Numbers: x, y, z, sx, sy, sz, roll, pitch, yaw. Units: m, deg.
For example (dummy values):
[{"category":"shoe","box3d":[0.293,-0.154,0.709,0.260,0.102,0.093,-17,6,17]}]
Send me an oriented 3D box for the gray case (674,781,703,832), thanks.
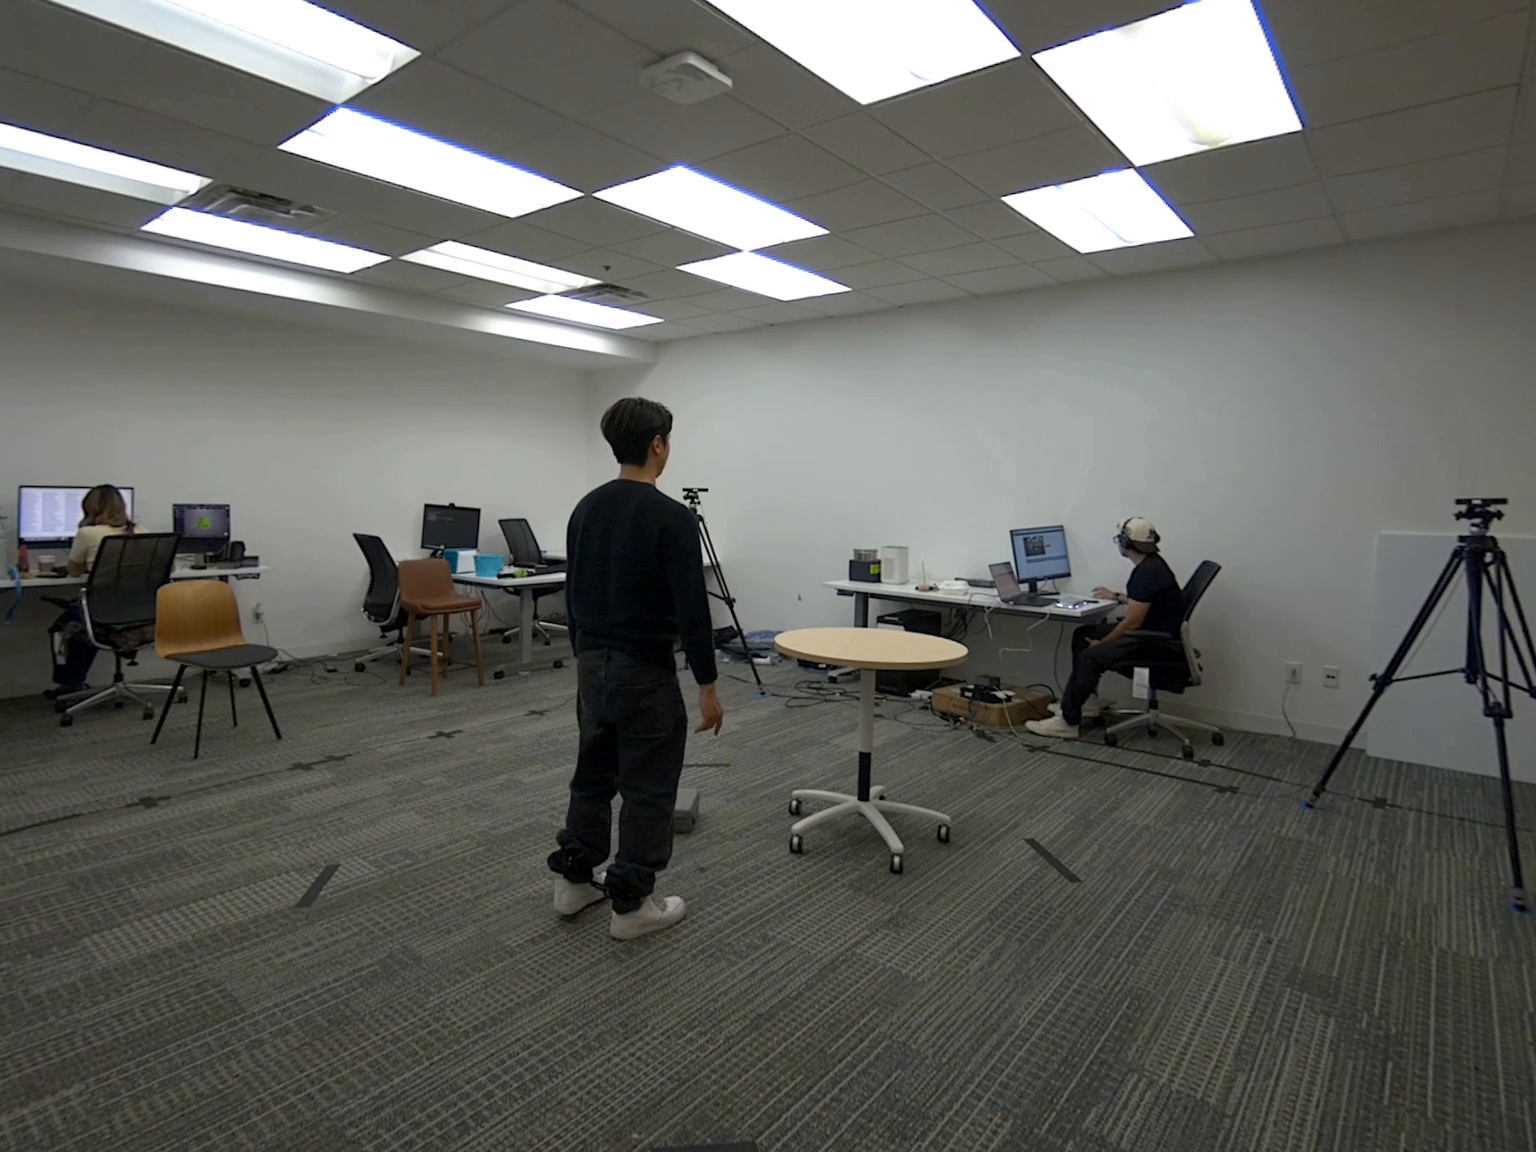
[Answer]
[{"category":"gray case","box3d":[-0.428,0.961,3.547,0.259,0.104,0.260,2,6,6]}]
